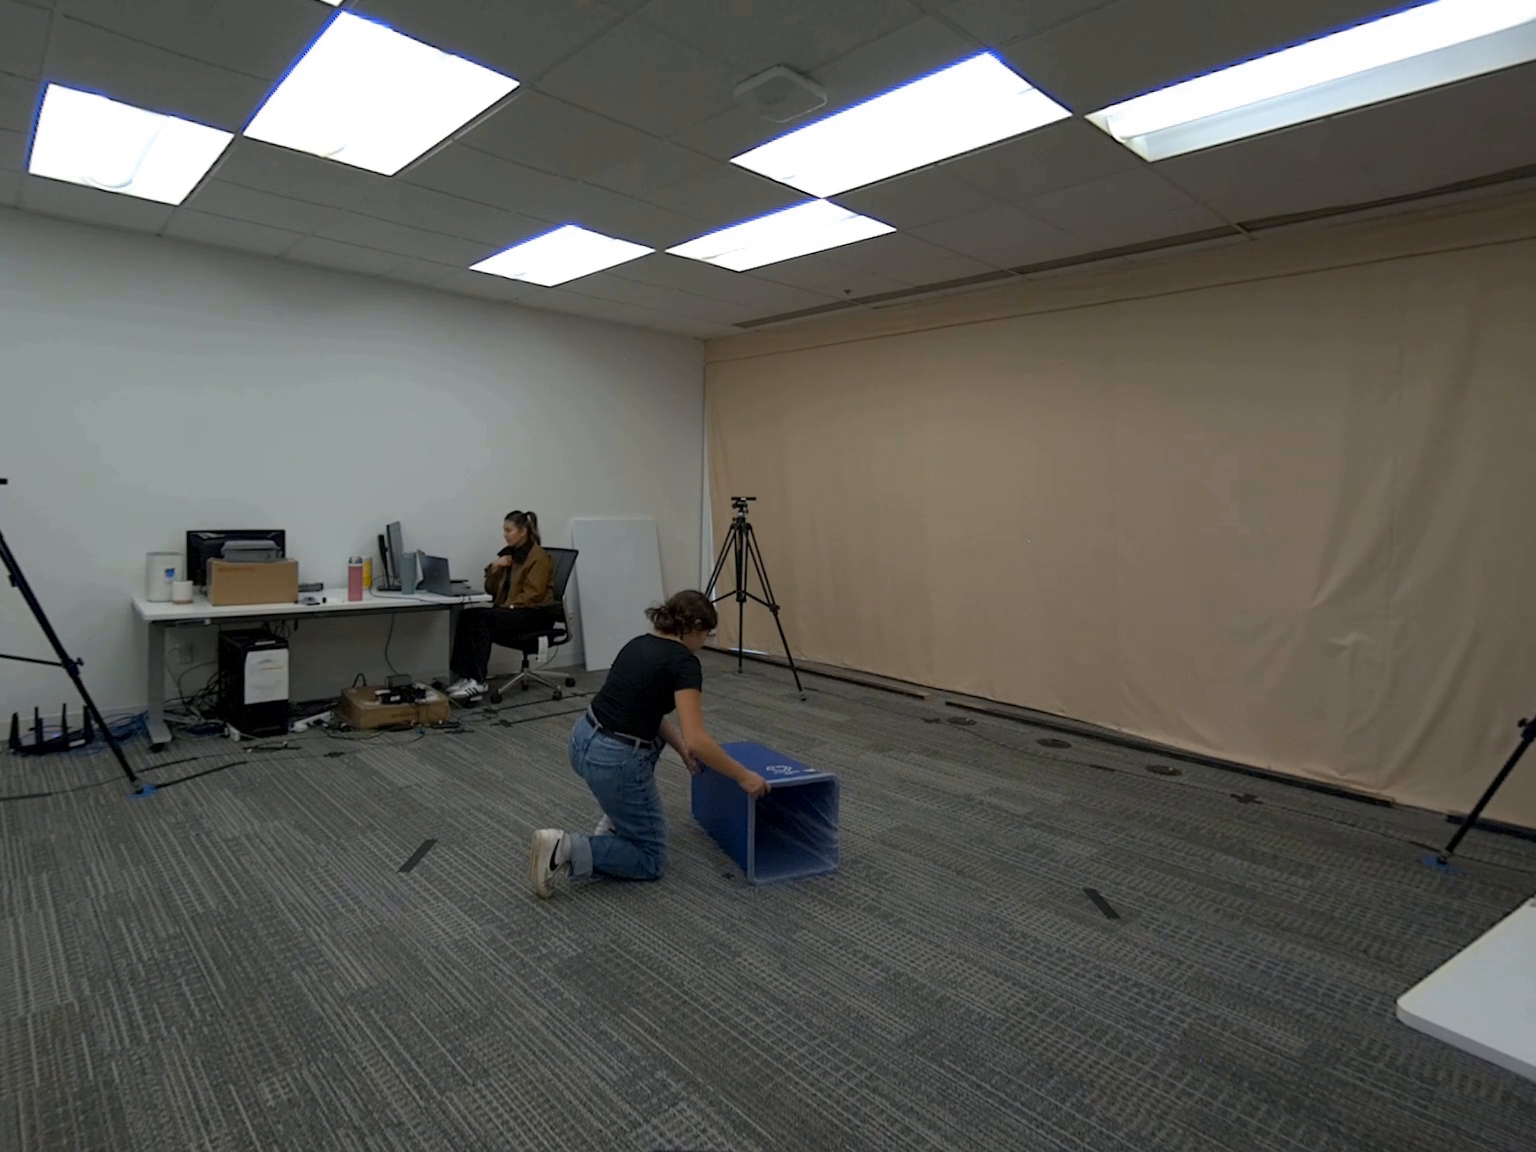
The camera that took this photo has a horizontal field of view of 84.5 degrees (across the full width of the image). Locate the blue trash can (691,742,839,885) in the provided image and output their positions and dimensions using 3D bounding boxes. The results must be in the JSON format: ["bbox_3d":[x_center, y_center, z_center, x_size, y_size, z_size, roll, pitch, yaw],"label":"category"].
[{"bbox_3d":[-0.059,0.915,3.408,0.367,0.378,0.727,-1,2,-25],"label":"blue trash can"}]
